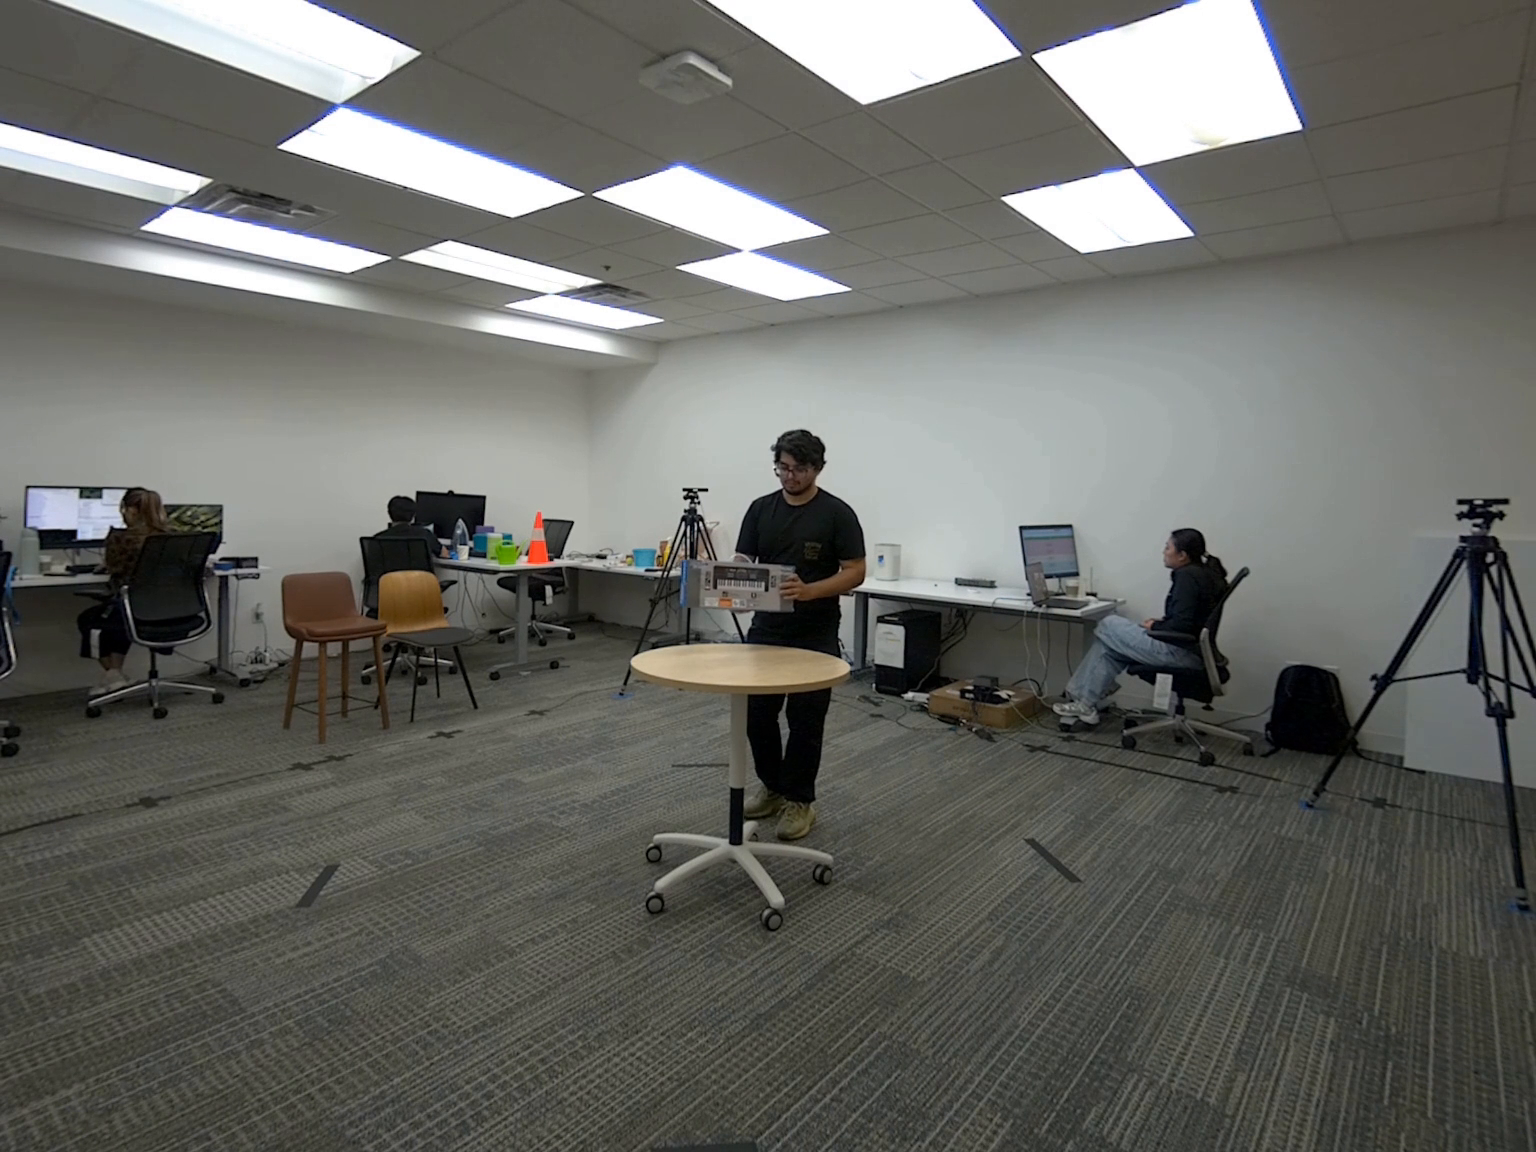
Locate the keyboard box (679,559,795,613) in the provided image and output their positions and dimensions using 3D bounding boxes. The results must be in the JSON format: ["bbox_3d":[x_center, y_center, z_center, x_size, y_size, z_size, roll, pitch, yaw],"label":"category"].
[{"bbox_3d":[-0.123,0.037,3.152,0.427,0.177,0.060,4,-5,-22],"label":"keyboard box"}]
